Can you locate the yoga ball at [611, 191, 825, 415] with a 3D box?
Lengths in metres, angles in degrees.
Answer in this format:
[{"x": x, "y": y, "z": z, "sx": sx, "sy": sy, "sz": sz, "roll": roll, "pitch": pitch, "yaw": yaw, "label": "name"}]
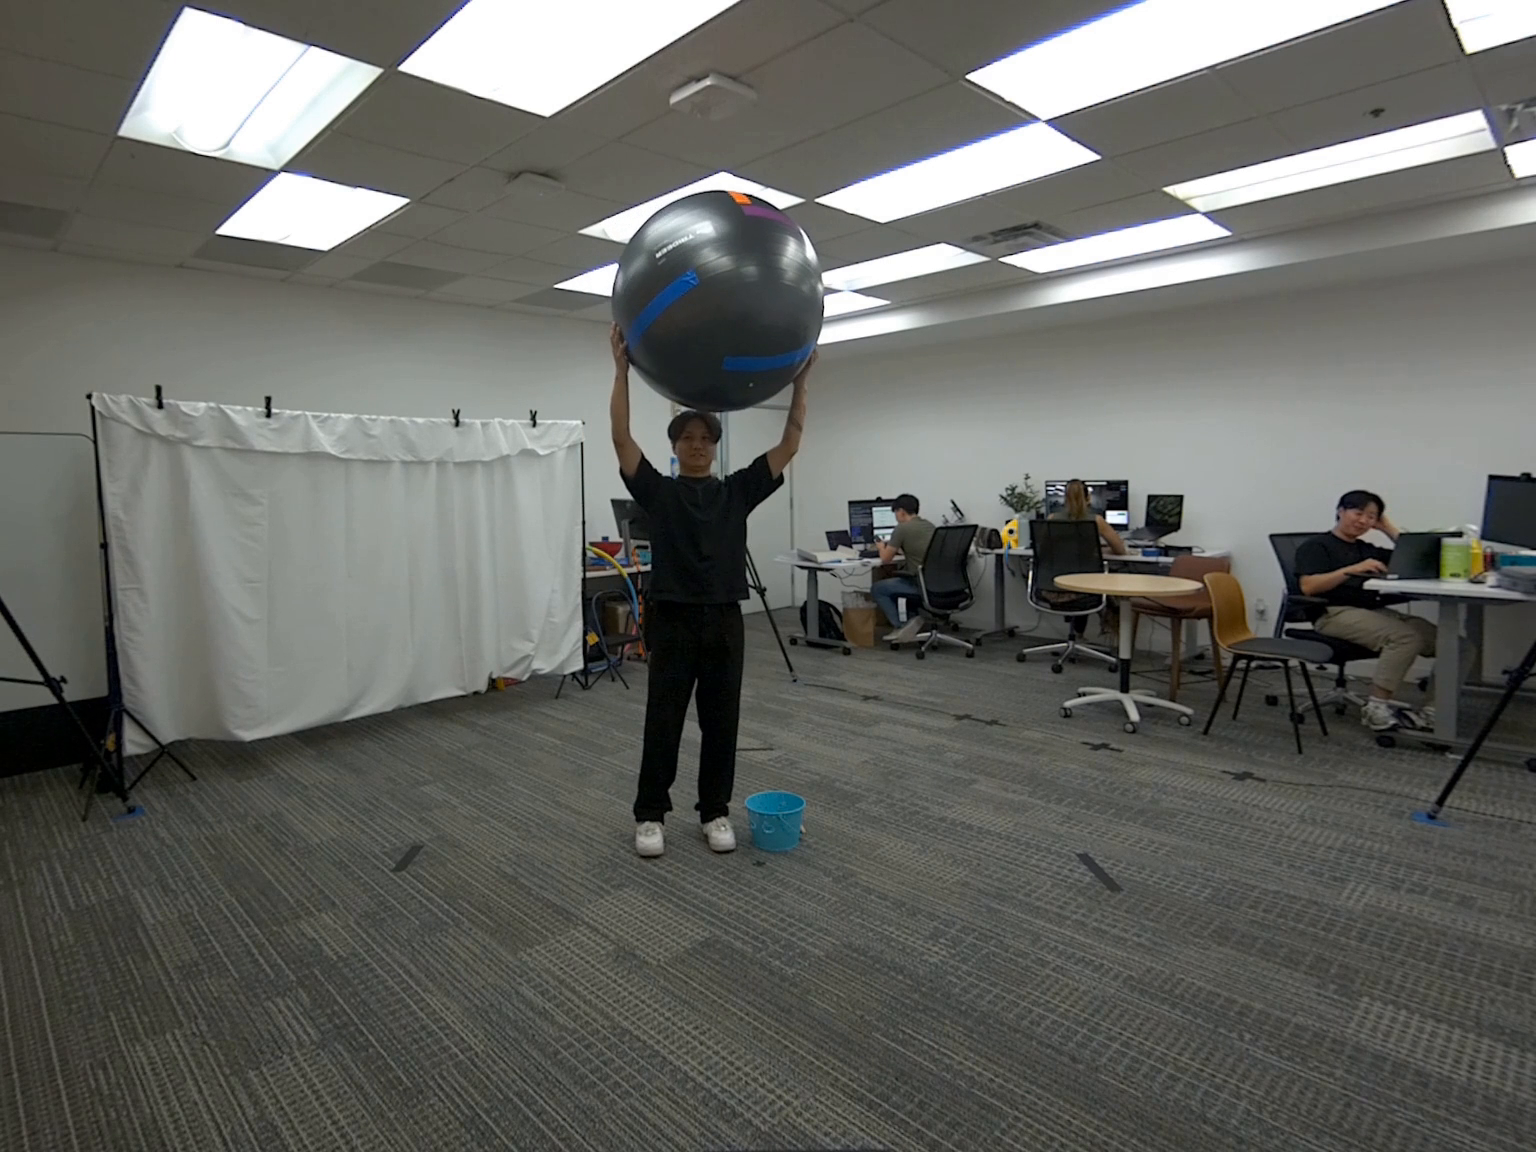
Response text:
[{"x": -0.184, "y": -0.965, "z": 3.033, "sx": 0.757, "sy": 0.755, "sz": 0.762, "roll": -1, "pitch": 5, "yaw": -2, "label": "yoga ball"}]
